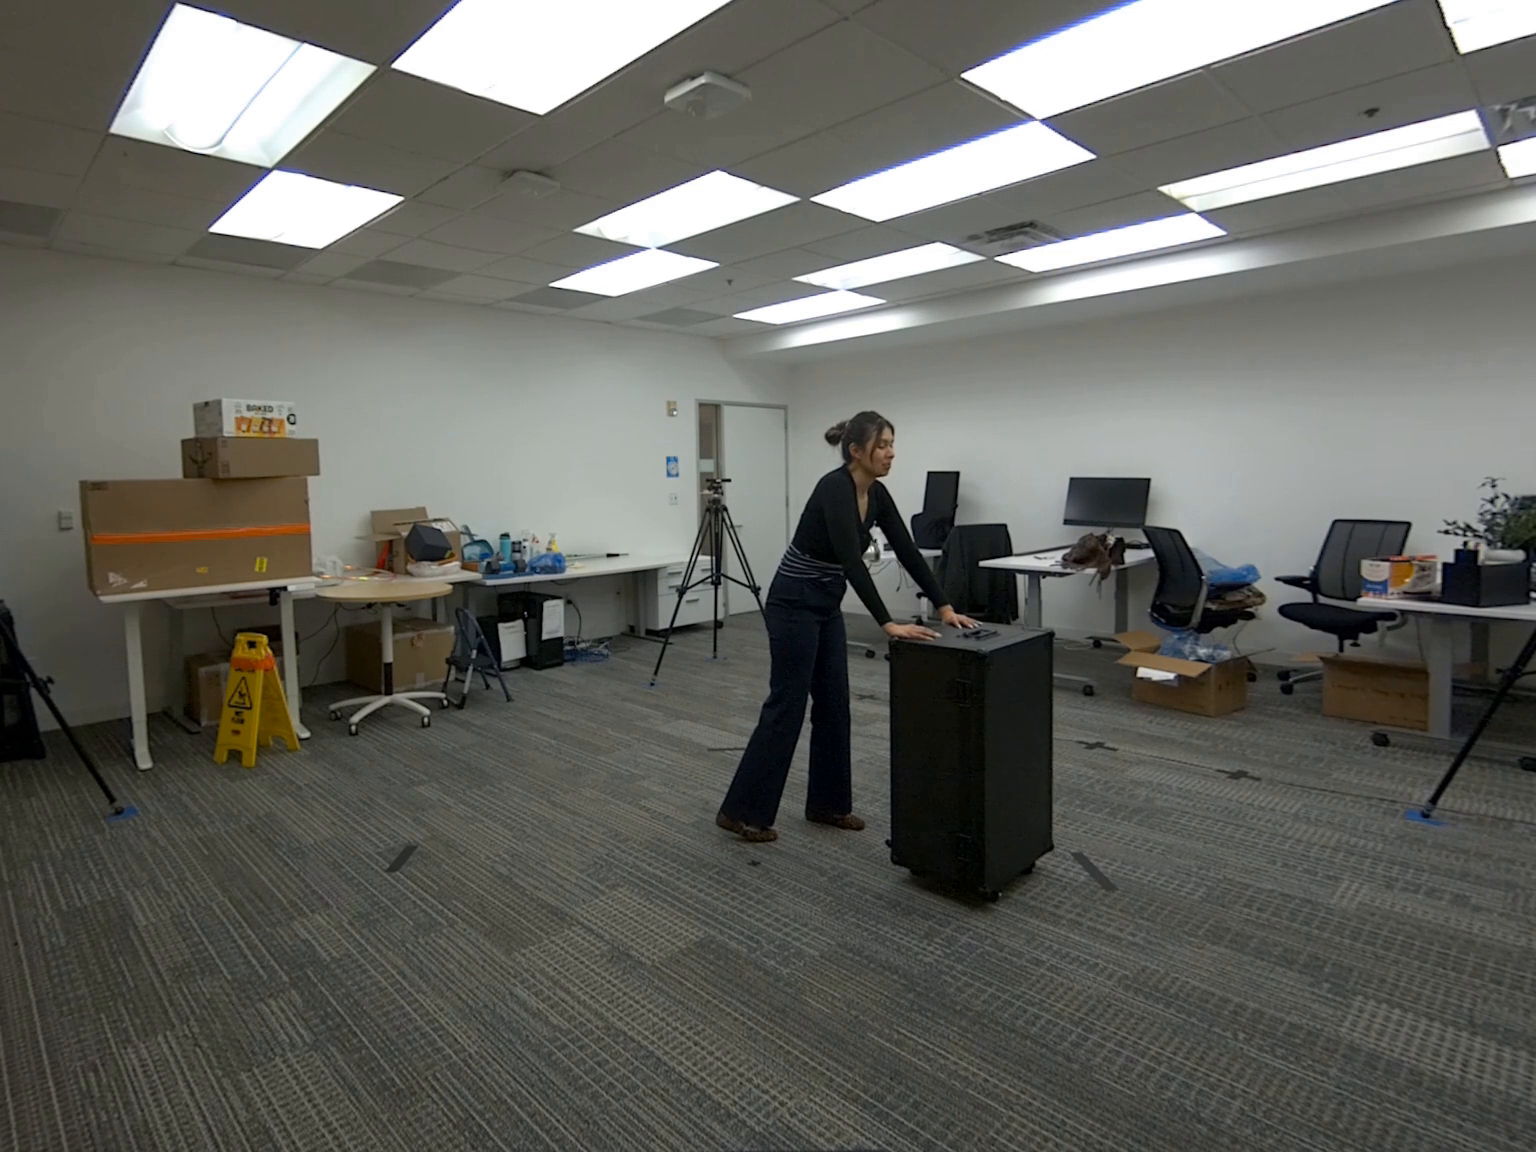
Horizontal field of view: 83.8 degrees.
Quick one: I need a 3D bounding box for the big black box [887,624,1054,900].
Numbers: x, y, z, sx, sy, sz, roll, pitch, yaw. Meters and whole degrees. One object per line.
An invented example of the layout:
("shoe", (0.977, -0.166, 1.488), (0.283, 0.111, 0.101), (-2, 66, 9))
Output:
("big black box", (0.698, 0.619, 2.950), (0.408, 0.859, 0.507), (2, 5, 45))
